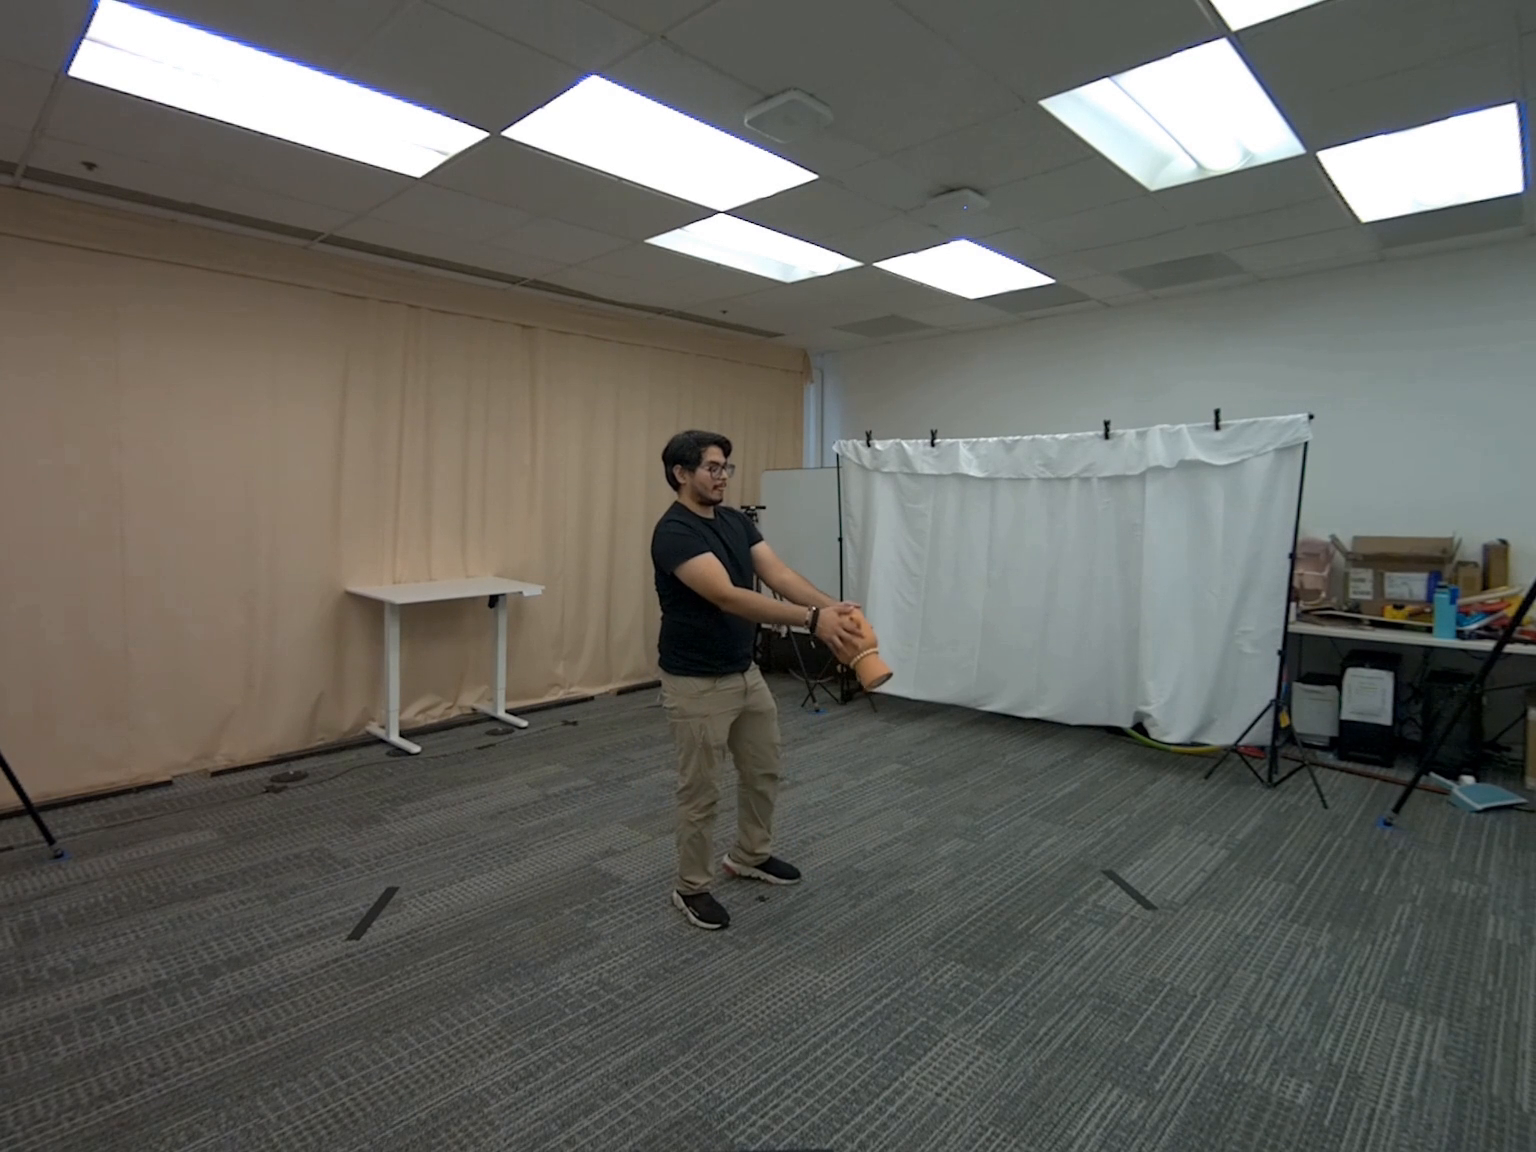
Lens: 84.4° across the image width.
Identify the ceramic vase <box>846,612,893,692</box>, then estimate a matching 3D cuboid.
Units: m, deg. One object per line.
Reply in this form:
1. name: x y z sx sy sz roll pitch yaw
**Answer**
1. ceramic vase: 0.281 0.231 2.507 0.135 0.225 0.154 -38 -26 13
